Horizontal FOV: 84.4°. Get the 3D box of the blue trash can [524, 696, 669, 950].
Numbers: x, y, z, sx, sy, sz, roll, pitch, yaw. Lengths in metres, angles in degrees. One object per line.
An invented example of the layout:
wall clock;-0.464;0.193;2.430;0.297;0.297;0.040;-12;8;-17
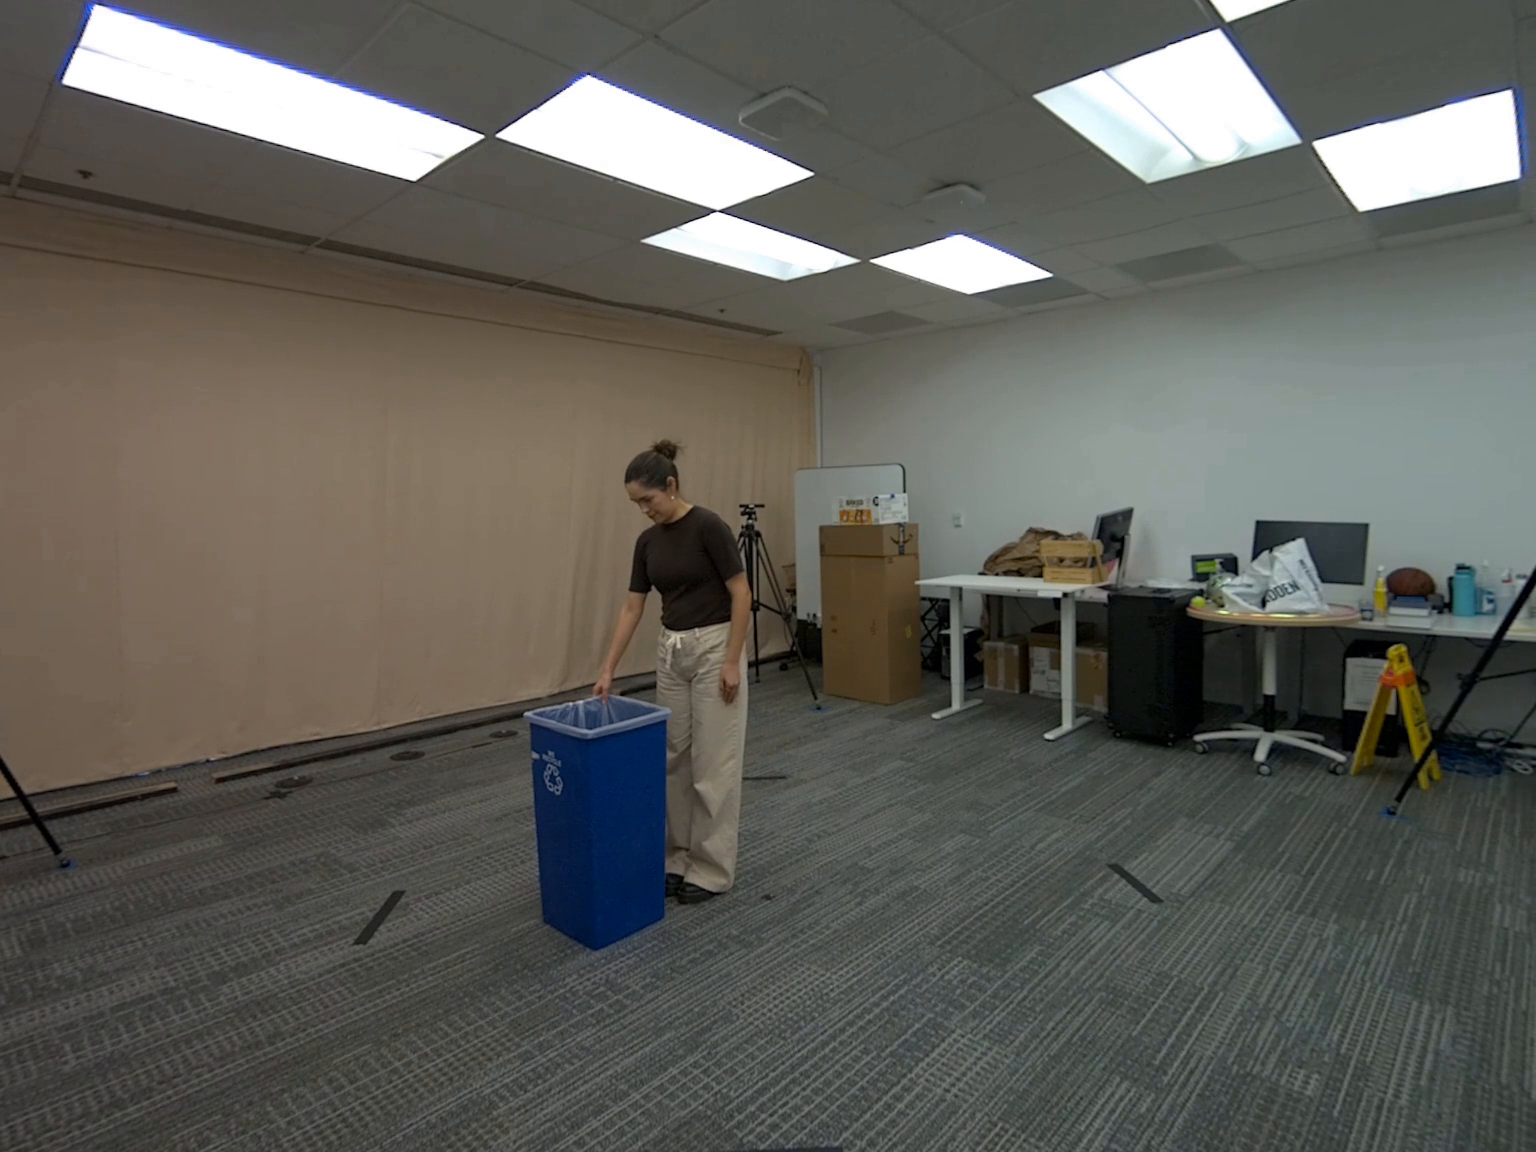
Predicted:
blue trash can;-0.566;0.808;2.823;0.390;0.712;0.363;2;4;42
